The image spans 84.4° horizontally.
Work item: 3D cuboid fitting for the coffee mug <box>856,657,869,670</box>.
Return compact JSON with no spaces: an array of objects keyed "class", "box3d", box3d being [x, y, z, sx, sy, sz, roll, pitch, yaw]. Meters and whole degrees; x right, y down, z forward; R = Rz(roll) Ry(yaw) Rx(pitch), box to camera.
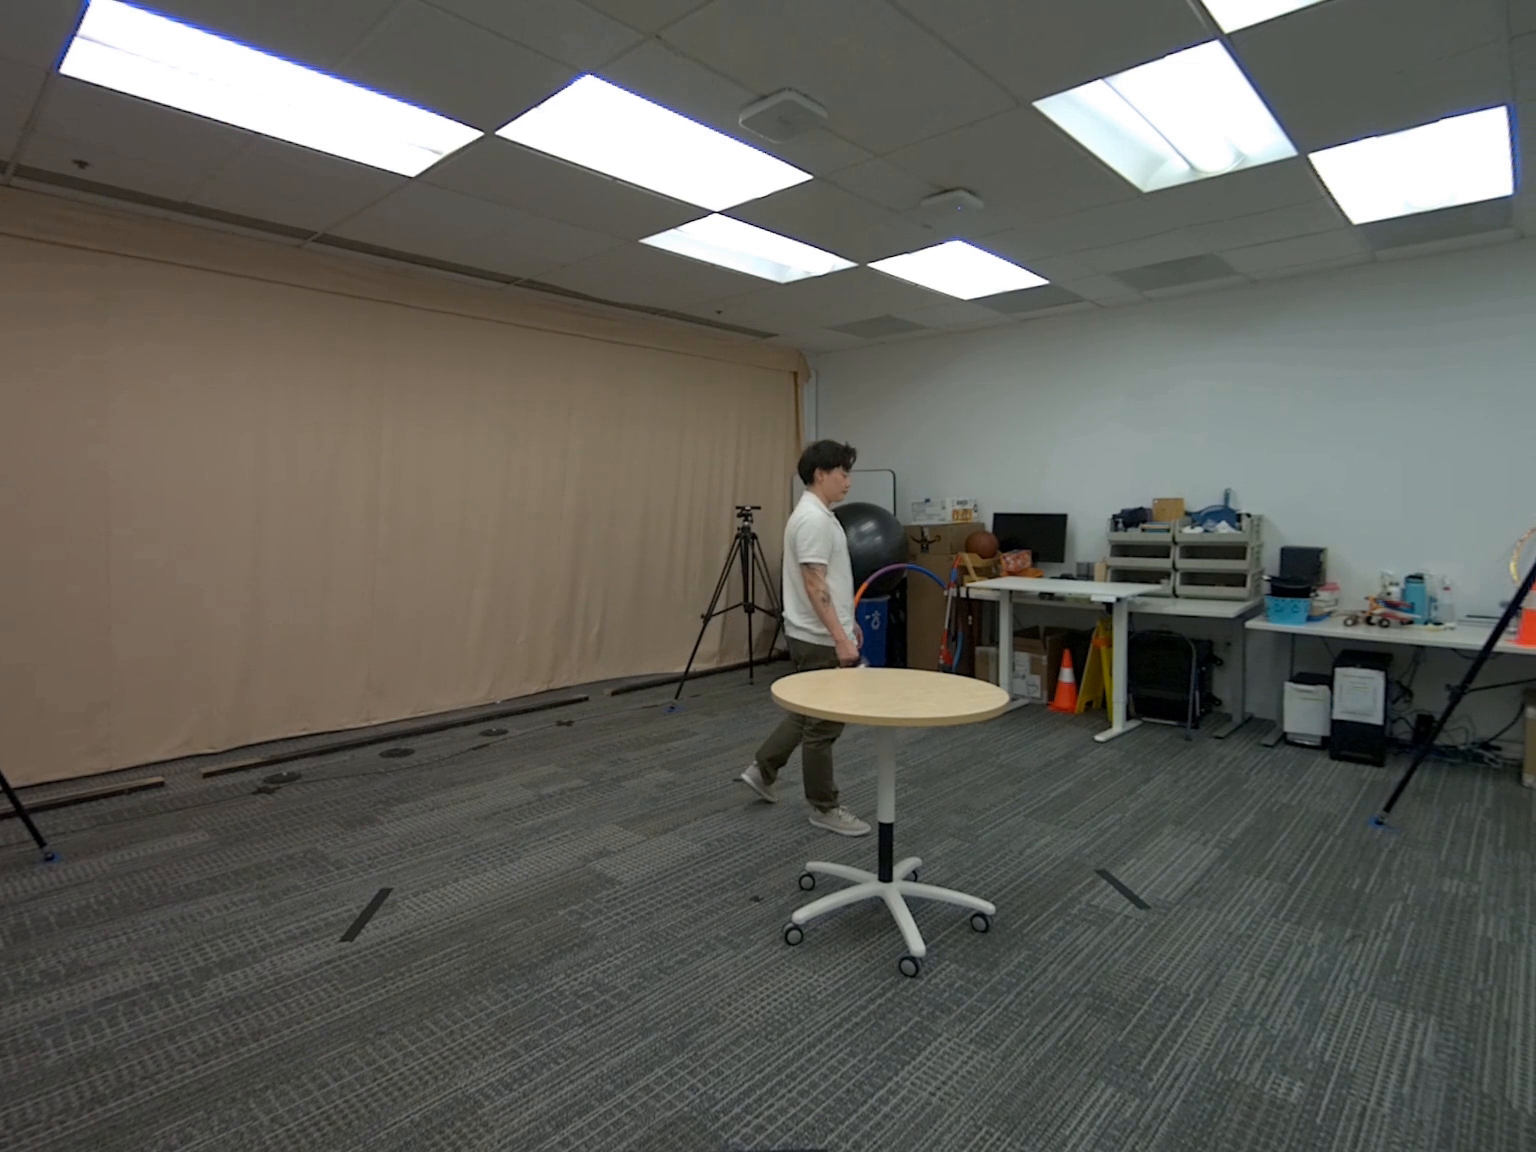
[{"class":"coffee mug","box3d":[0.308,0.383,3.396,0.203,0.122,0.088,-27,2,1]}]
